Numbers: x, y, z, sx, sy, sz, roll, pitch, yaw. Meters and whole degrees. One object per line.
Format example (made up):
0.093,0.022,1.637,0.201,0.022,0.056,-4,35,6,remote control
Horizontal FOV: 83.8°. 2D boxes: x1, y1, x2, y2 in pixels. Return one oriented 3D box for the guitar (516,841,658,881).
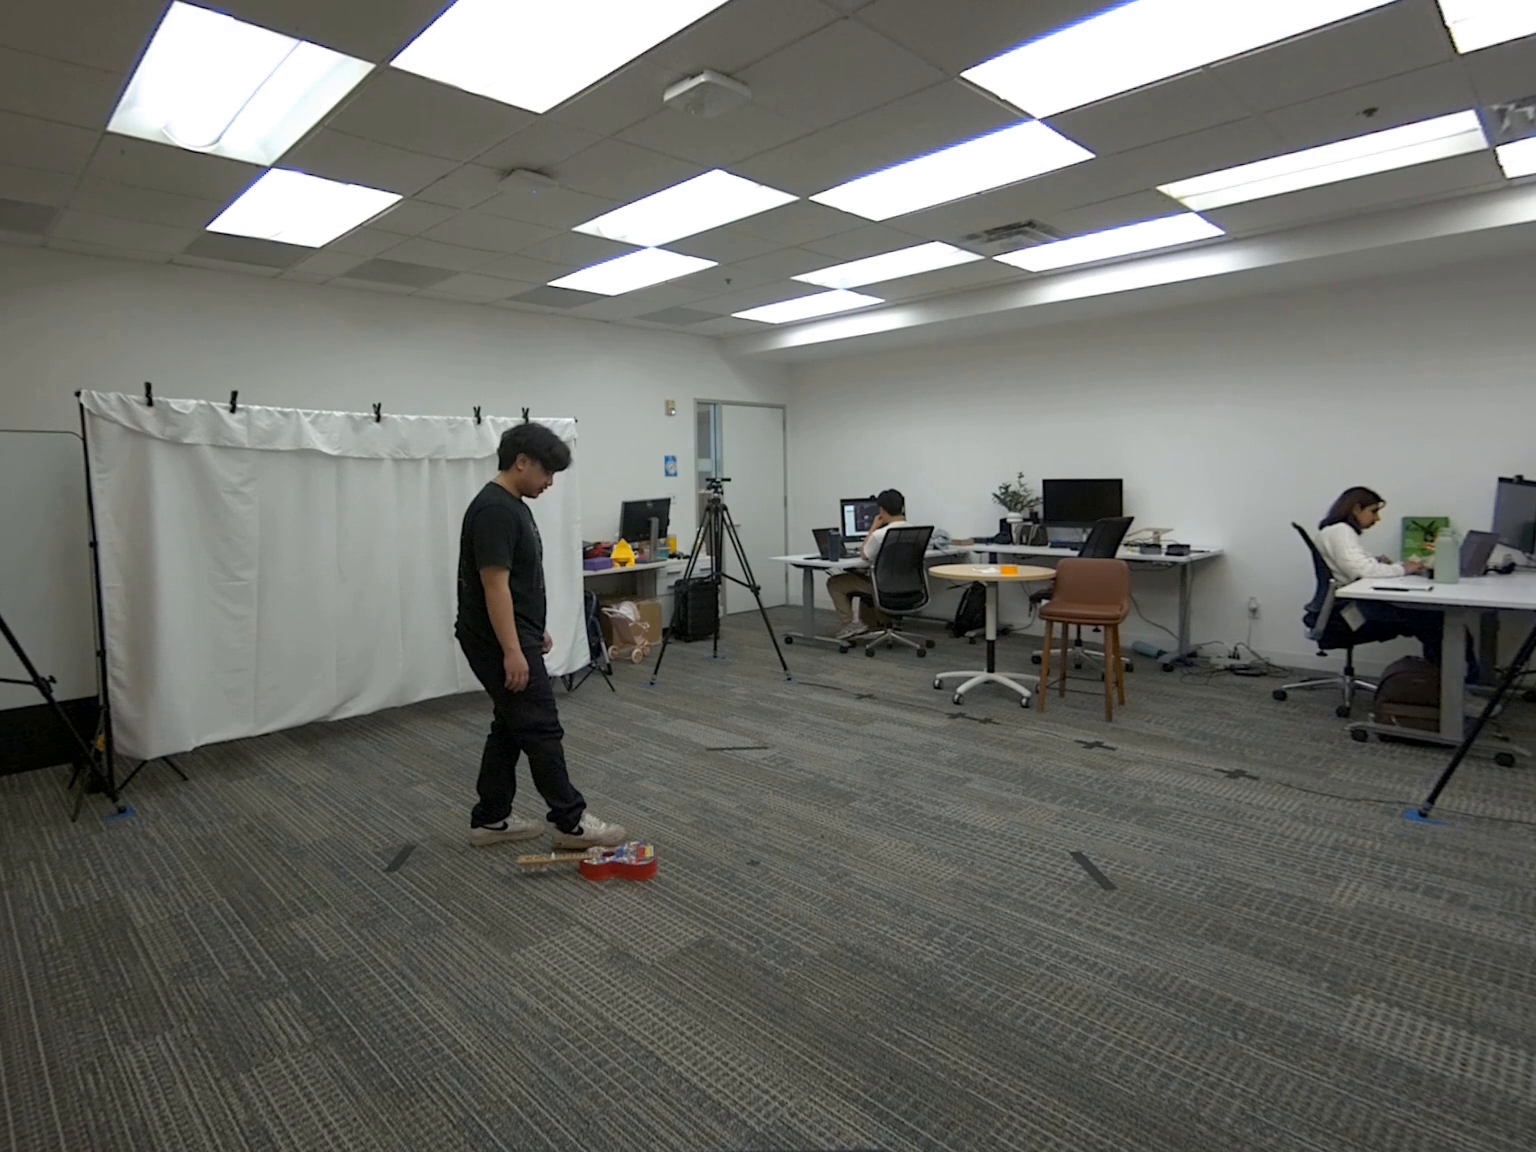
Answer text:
-0.645,1.020,3.079,0.499,0.070,0.194,0,7,1,guitar
